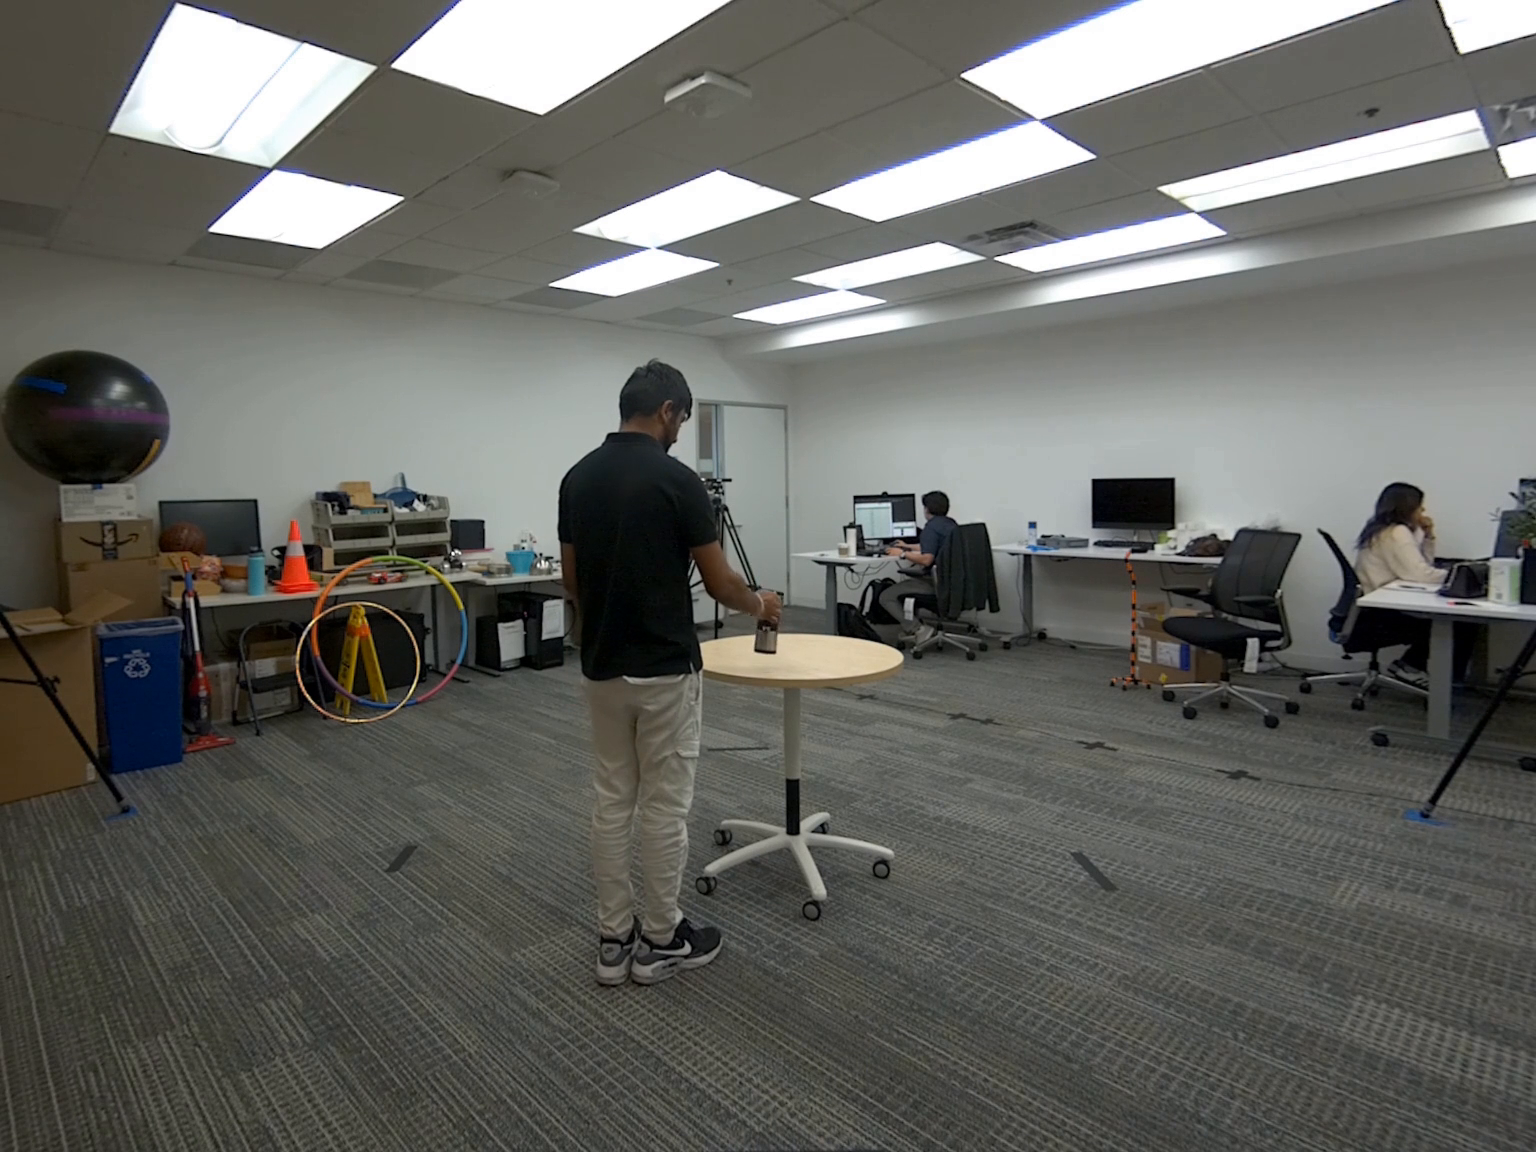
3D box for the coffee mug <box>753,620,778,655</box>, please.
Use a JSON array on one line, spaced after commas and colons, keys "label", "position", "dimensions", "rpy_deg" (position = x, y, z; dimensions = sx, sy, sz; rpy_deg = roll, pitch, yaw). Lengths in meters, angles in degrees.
[{"label": "coffee mug", "position": [-0.006, 0.143, 2.713], "dimensions": [0.090, 0.204, 0.118], "rpy_deg": [6, -5, 26]}]
